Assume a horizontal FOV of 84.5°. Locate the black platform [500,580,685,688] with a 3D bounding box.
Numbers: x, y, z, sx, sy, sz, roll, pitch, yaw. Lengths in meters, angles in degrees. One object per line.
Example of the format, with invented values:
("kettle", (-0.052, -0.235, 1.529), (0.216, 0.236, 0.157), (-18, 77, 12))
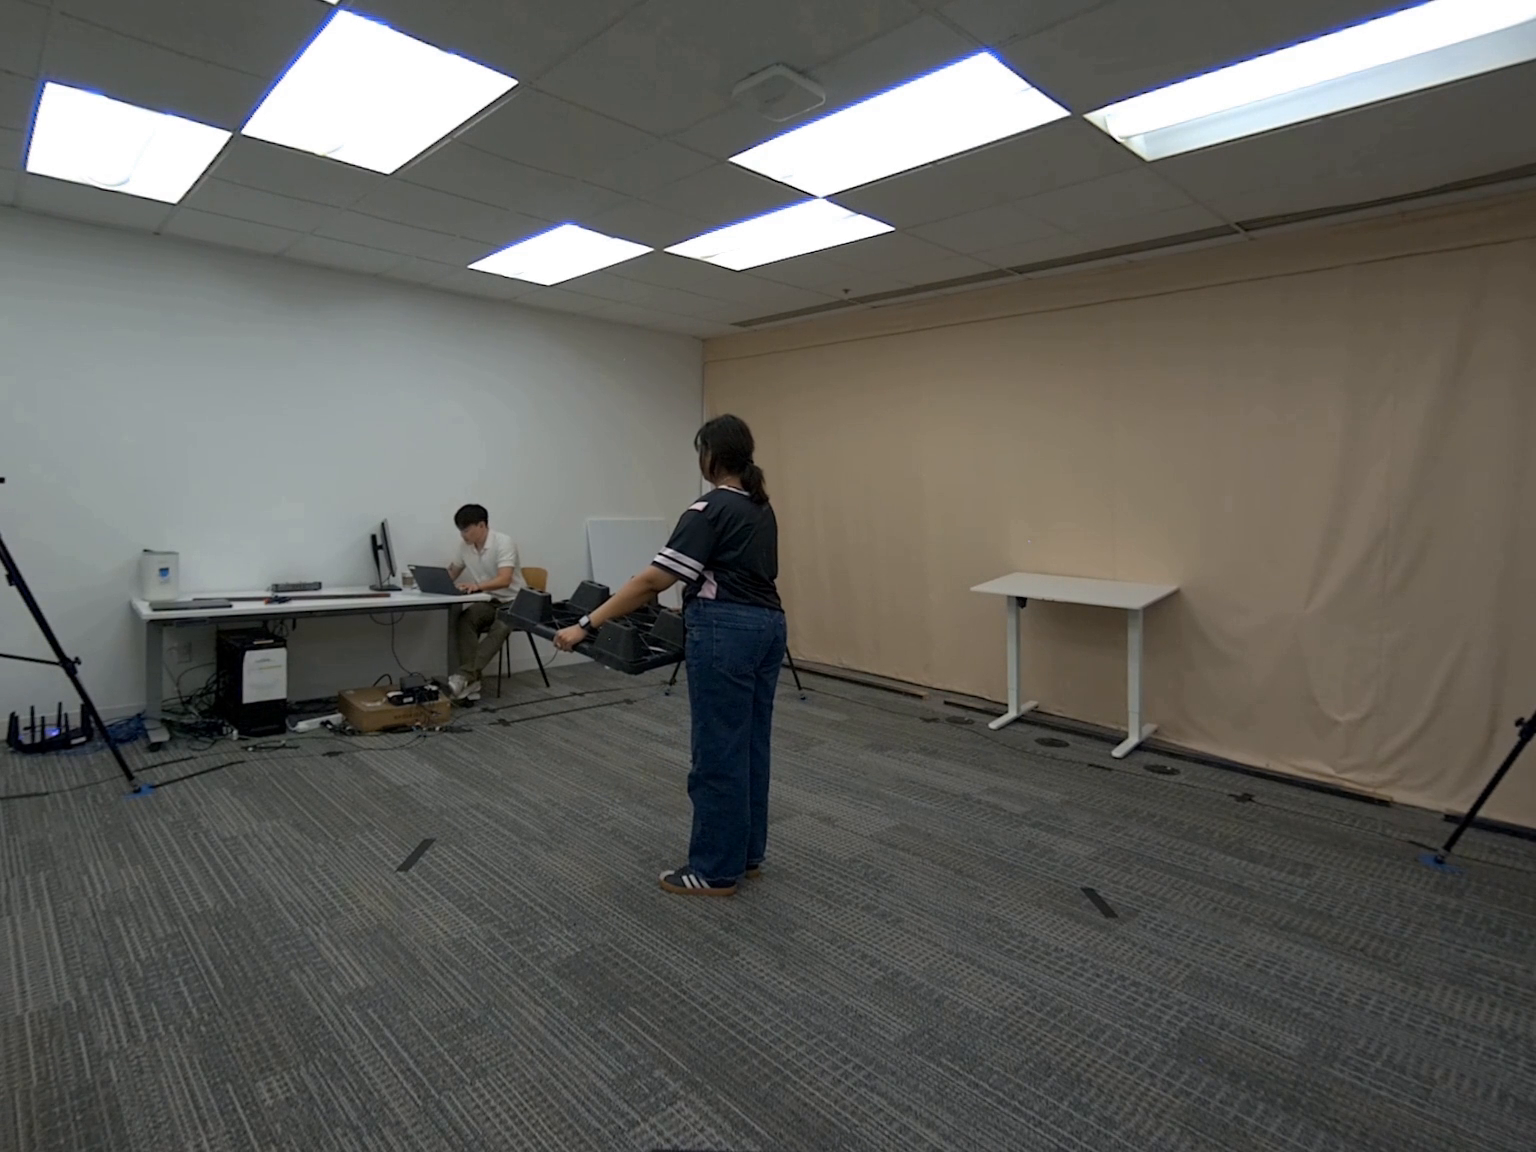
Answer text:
("black platform", (-0.514, 0.149, 3.138), (0.619, 0.142, 0.791), (18, 11, 24))
